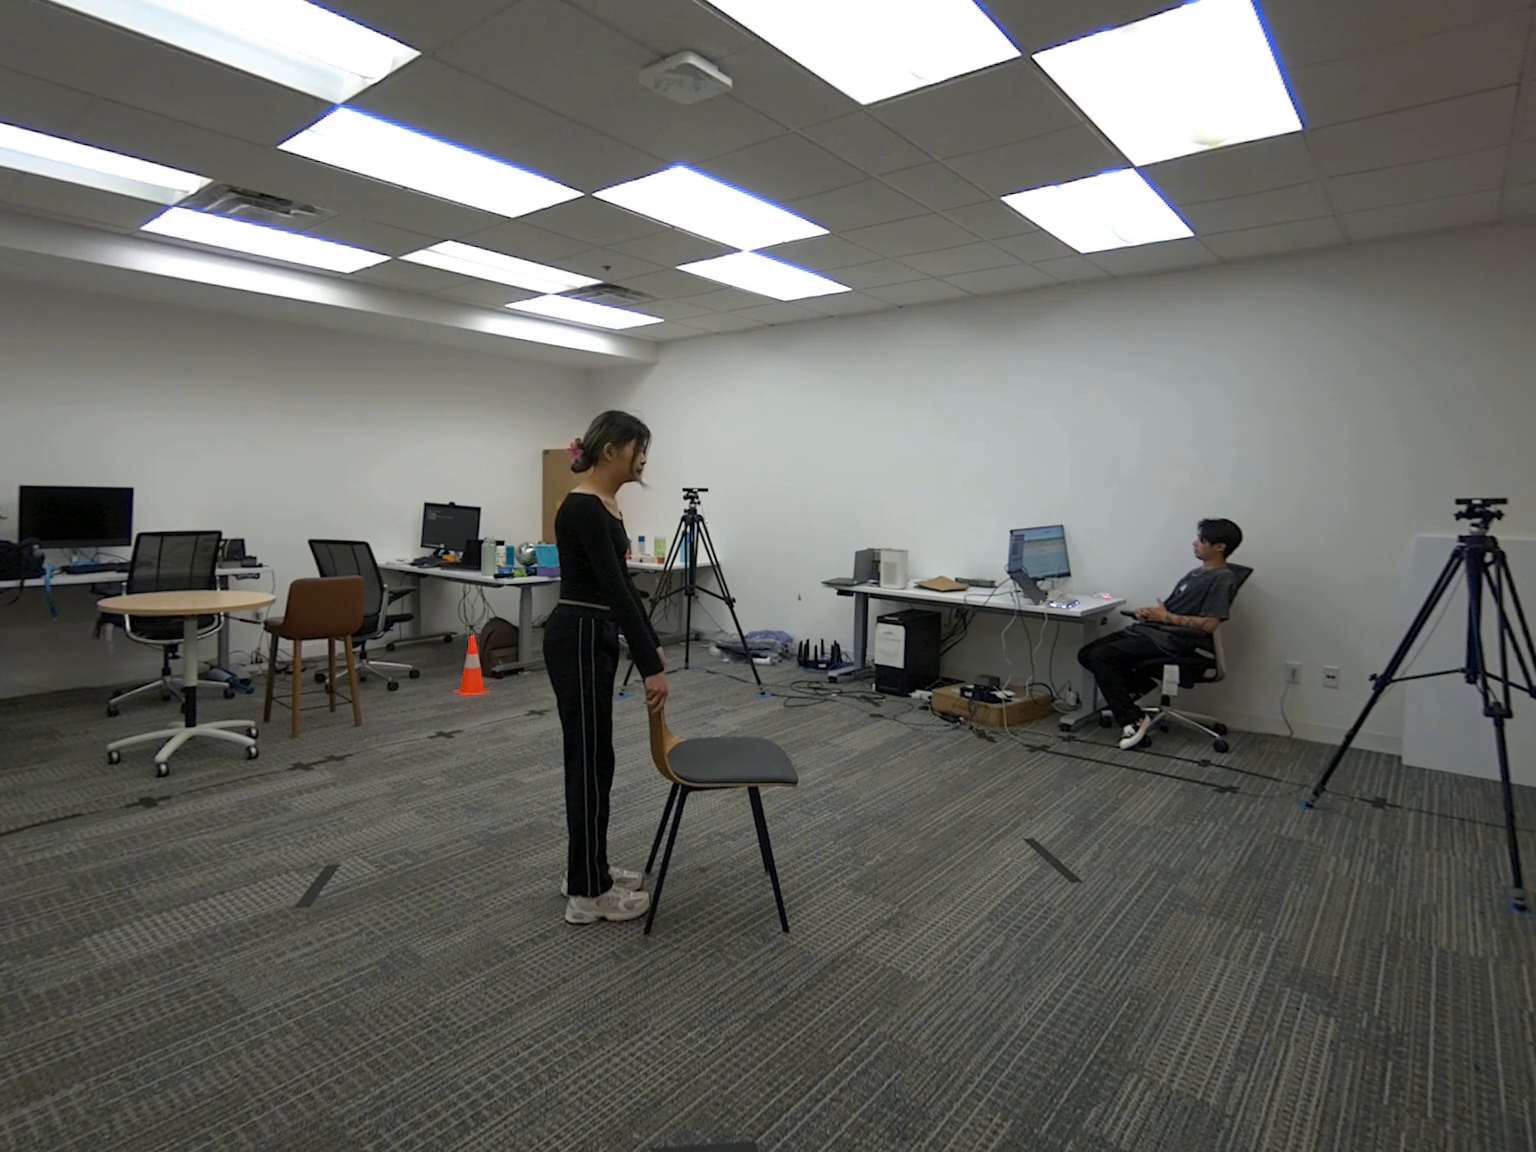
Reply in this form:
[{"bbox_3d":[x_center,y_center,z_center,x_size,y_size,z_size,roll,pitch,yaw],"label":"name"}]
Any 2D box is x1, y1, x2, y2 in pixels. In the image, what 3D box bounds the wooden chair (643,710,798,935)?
[{"bbox_3d":[-0.177,0.670,2.852,0.520,0.875,0.482,-4,2,-6],"label":"wooden chair"}]
